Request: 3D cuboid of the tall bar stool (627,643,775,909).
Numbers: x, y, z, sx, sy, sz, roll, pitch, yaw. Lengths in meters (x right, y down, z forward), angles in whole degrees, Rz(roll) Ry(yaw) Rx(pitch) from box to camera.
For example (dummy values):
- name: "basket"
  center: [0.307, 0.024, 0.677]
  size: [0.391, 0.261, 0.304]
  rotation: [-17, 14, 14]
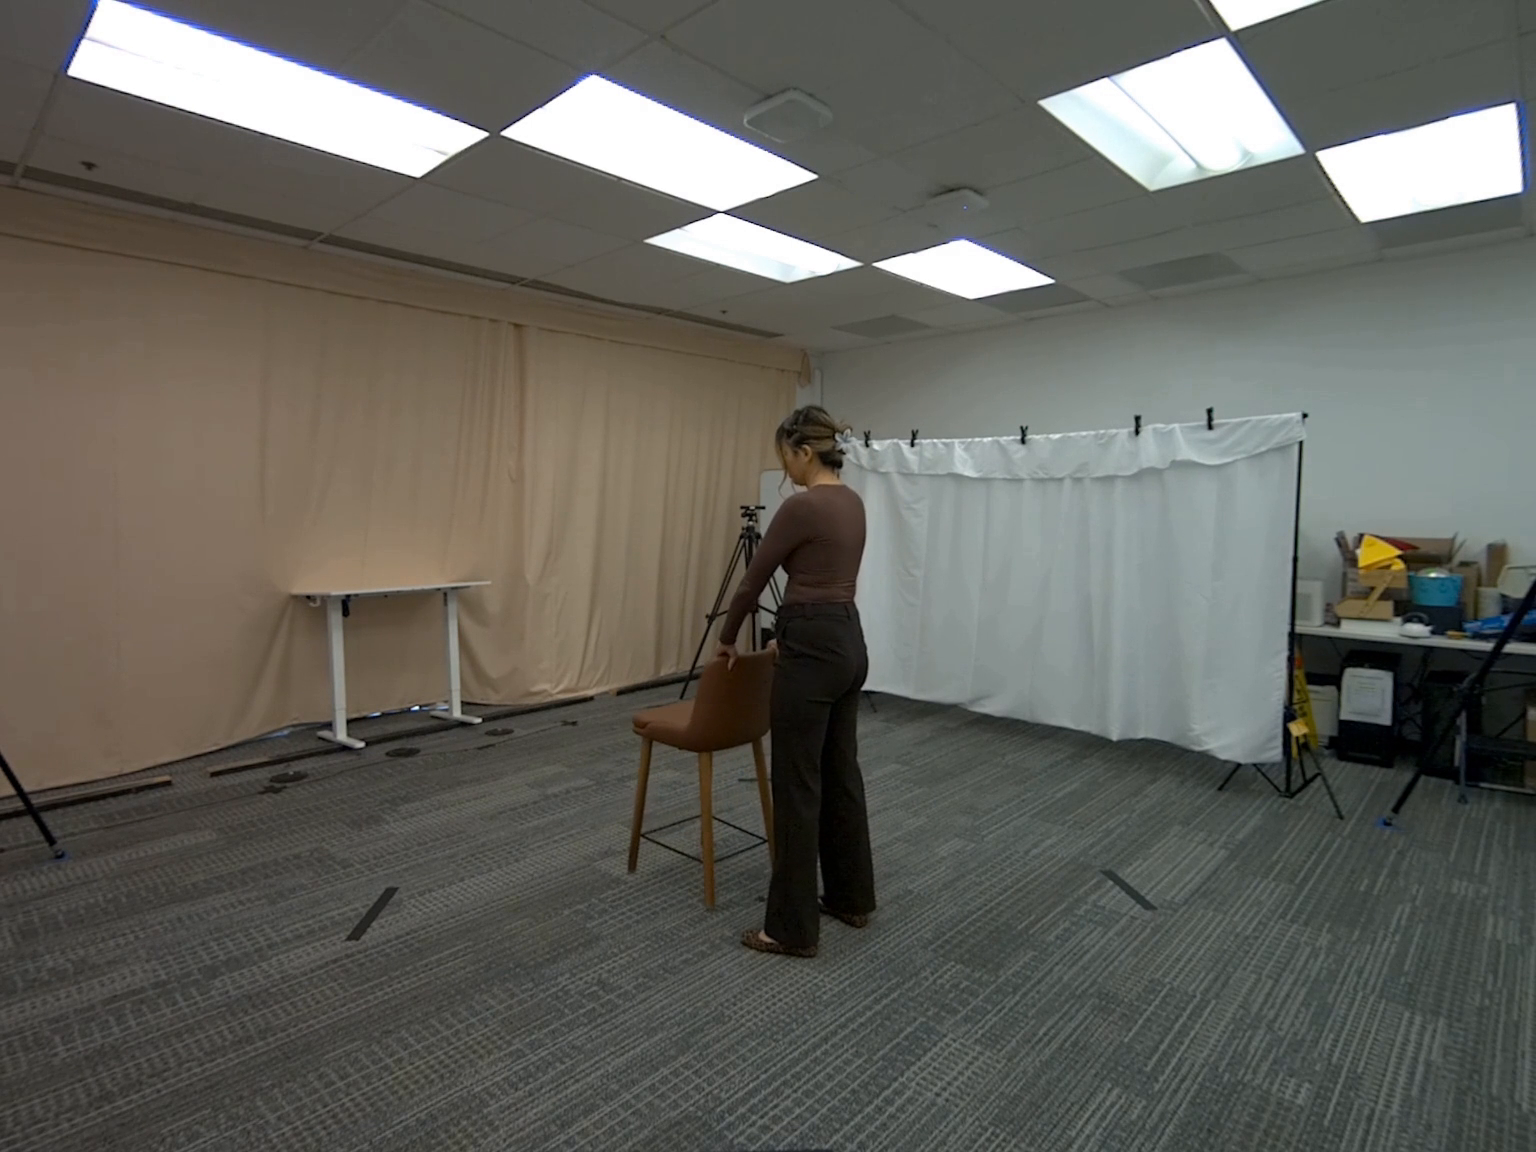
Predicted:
- name: "tall bar stool"
  center: [-0.223, 0.691, 3.156]
  size: [0.483, 0.888, 0.442]
  rotation: [6, 5, 45]
